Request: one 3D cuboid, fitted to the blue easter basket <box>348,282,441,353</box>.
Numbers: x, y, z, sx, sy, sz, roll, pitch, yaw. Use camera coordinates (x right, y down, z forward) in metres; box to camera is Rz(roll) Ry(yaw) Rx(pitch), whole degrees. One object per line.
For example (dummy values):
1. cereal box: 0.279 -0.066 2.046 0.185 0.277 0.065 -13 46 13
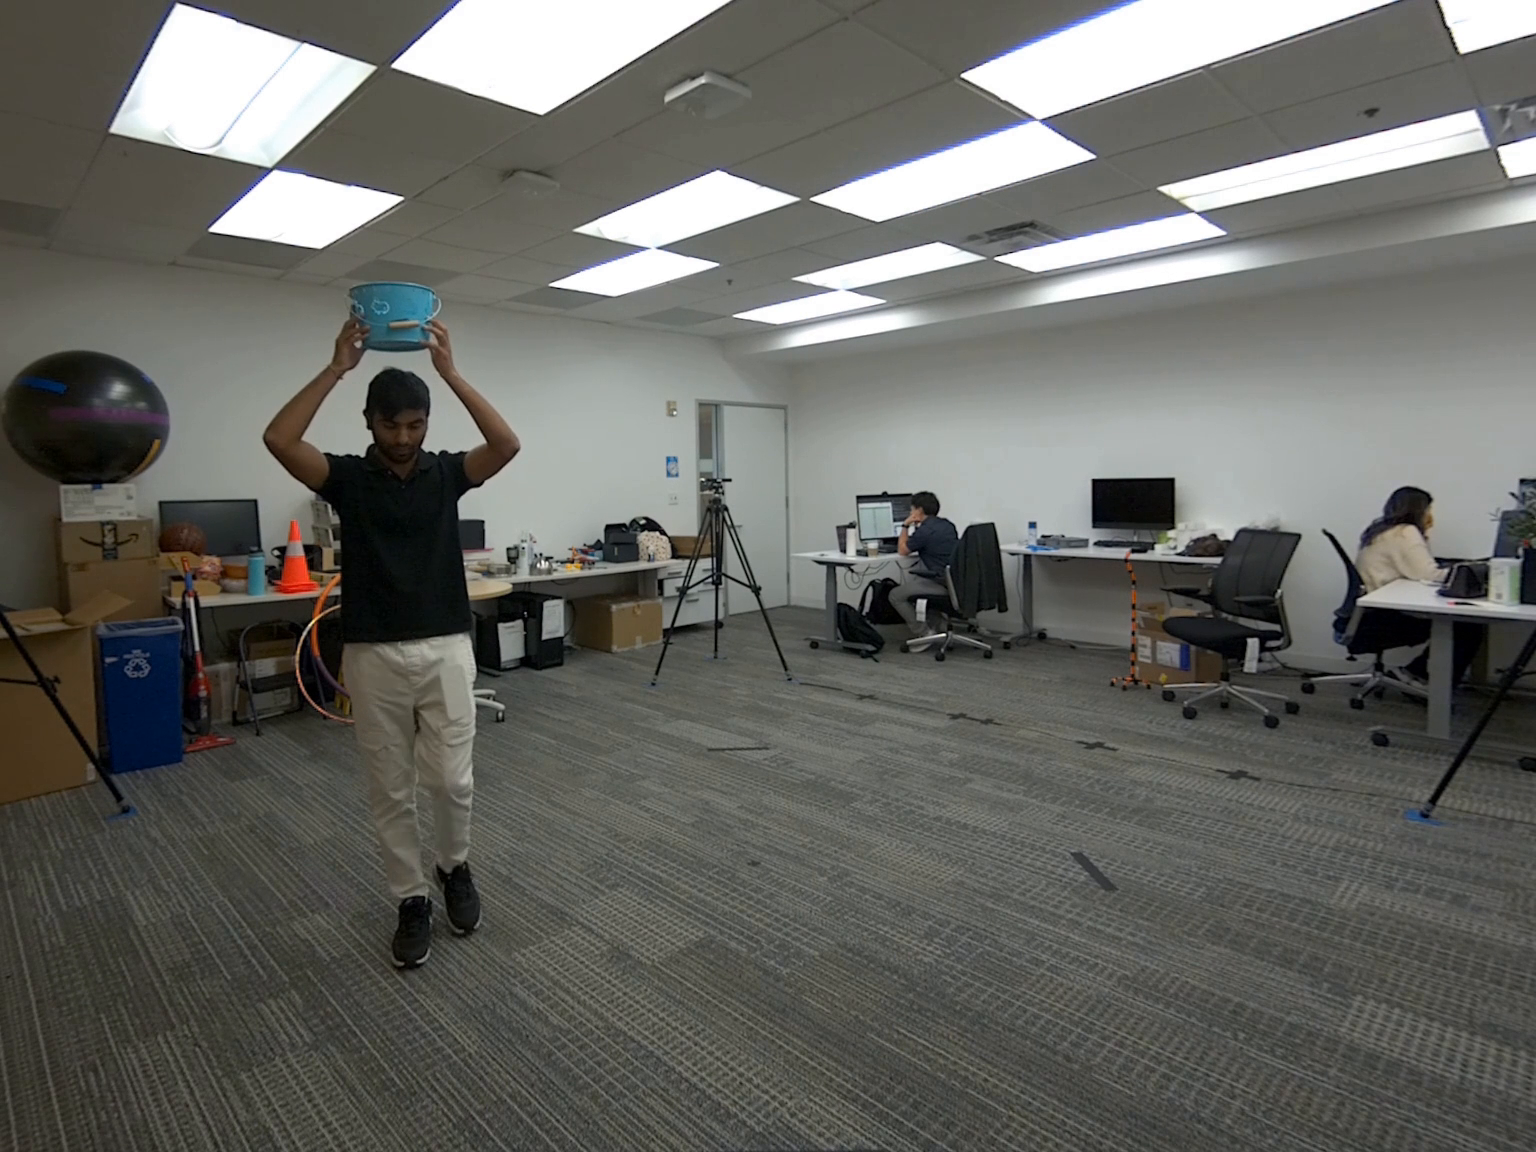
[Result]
1. blue easter basket: -1.064 -0.724 2.410 0.243 0.155 0.244 -5 4 -1
